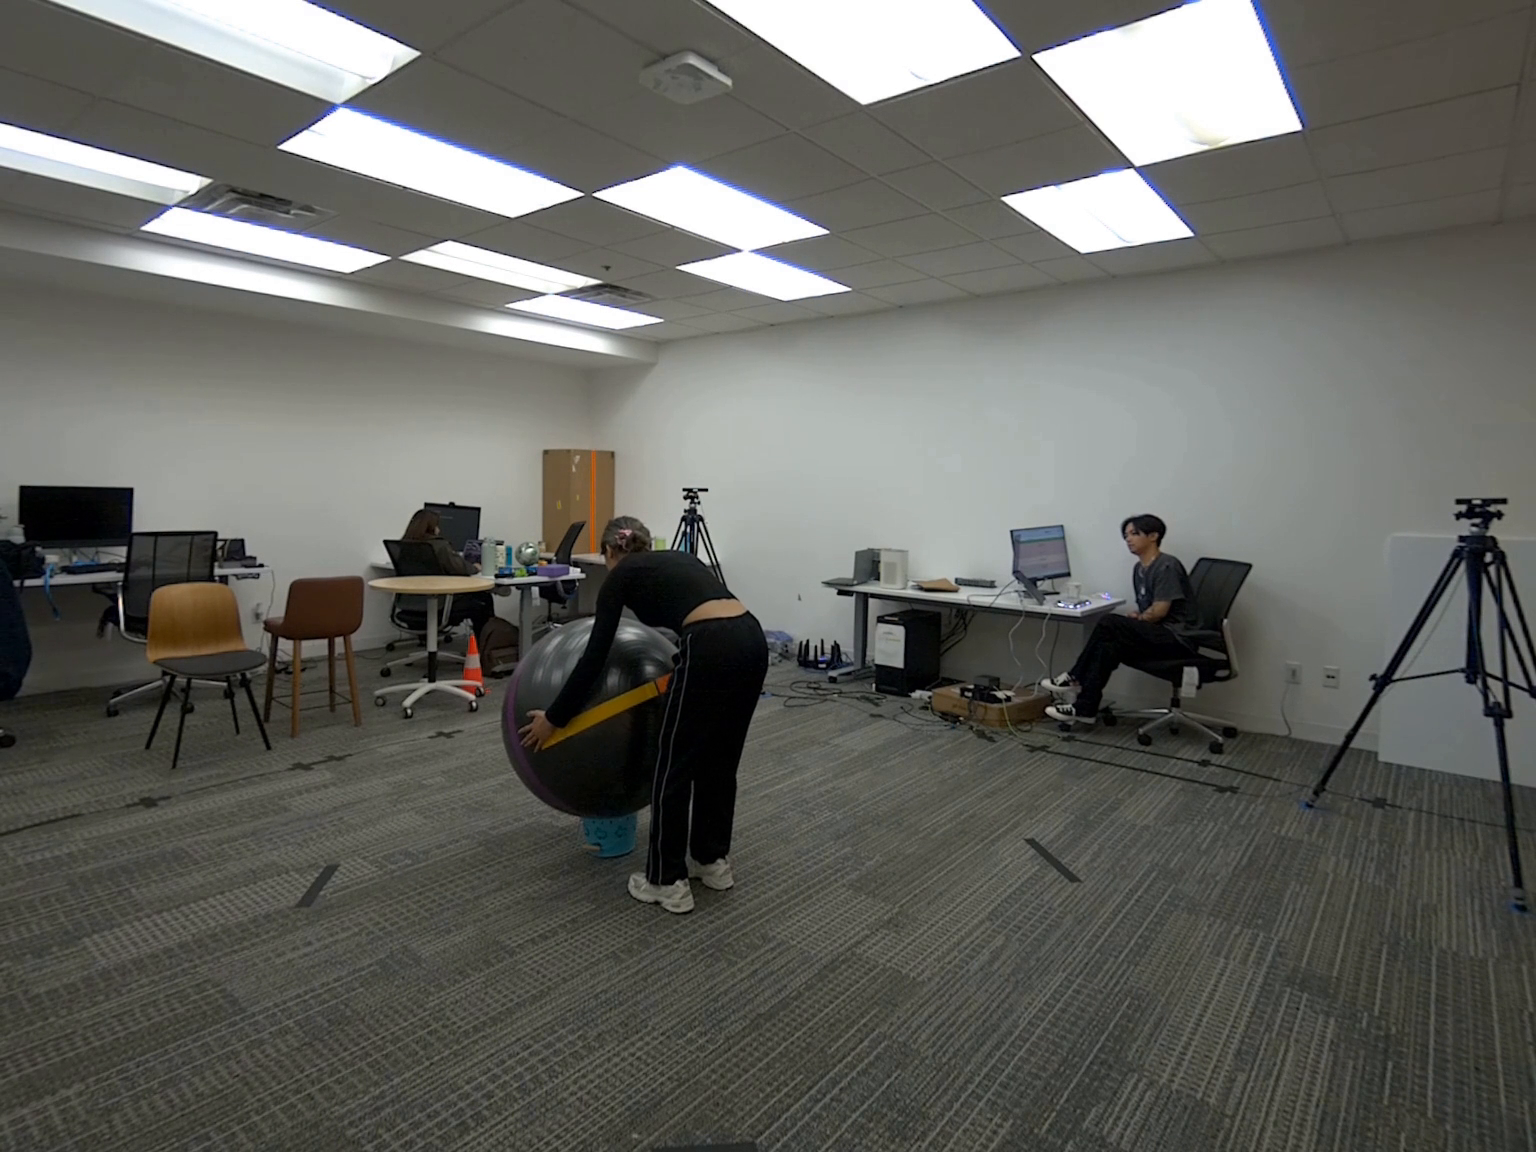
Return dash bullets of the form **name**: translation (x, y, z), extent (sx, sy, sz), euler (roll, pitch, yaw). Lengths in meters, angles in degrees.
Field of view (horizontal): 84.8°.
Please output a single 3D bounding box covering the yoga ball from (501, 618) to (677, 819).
- **yoga ball**: translation (-0.654, 0.539, 3.270), extent (0.757, 0.755, 0.762), euler (1, 4, -2)
